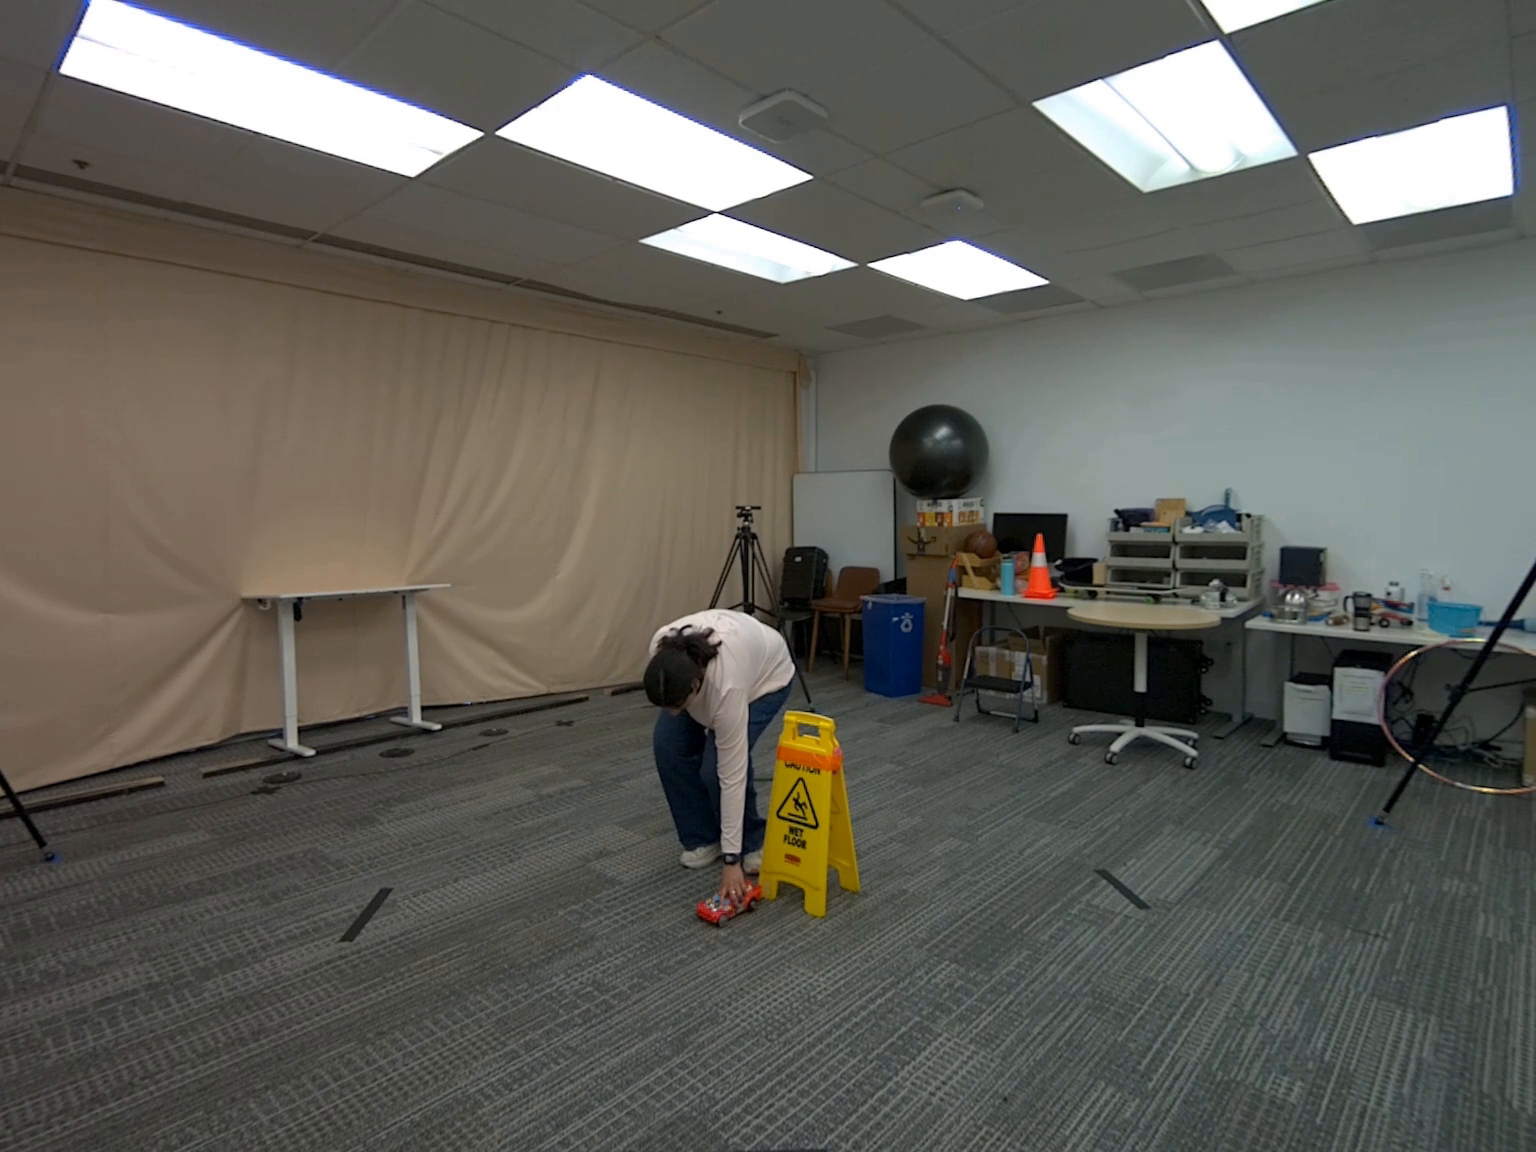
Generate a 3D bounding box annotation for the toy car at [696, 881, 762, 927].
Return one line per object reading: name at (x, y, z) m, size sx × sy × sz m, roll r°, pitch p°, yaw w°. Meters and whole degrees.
toy car at (-0.124, 1.116, 2.891) m, size 0.134 × 0.082 × 0.248 m, roll 3°, pitch 17°, yaw 44°
